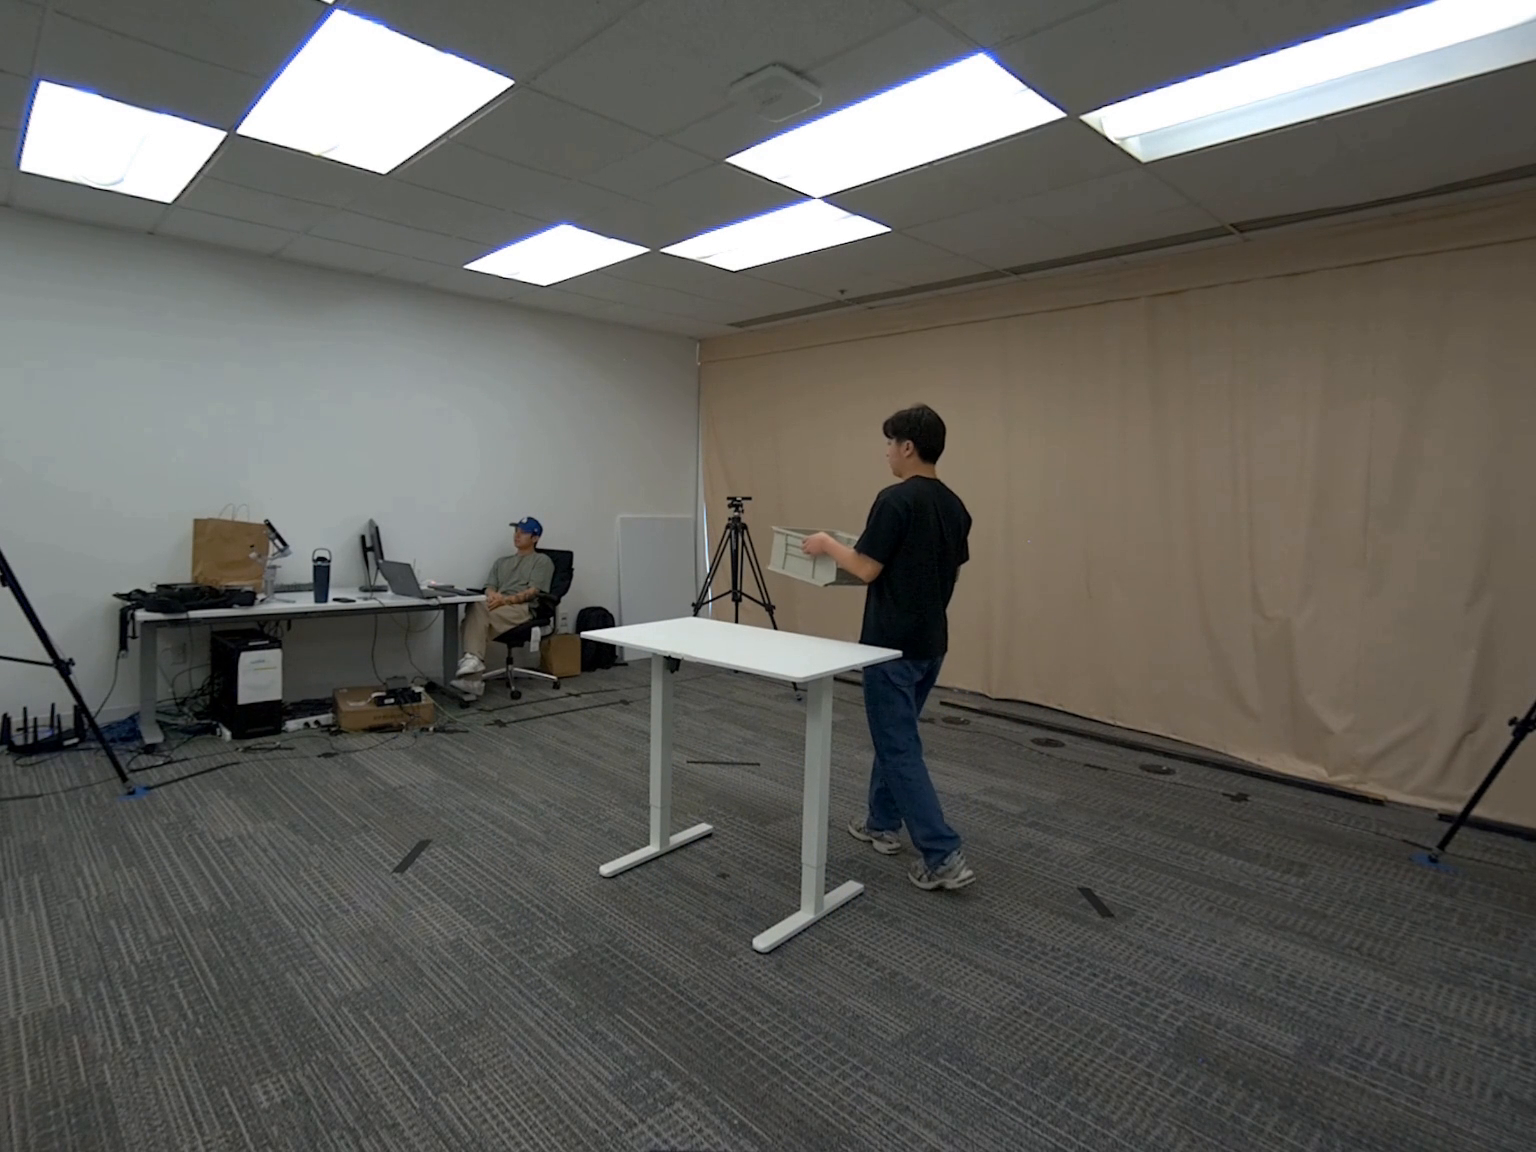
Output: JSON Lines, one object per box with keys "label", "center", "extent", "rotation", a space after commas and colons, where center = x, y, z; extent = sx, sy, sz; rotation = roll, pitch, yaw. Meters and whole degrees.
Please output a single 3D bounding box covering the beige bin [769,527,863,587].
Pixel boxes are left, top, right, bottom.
{"label": "beige bin", "center": [0.272, -0.069, 3.526], "extent": [0.412, 0.188, 0.388], "rotation": [-1, 13, -46]}
